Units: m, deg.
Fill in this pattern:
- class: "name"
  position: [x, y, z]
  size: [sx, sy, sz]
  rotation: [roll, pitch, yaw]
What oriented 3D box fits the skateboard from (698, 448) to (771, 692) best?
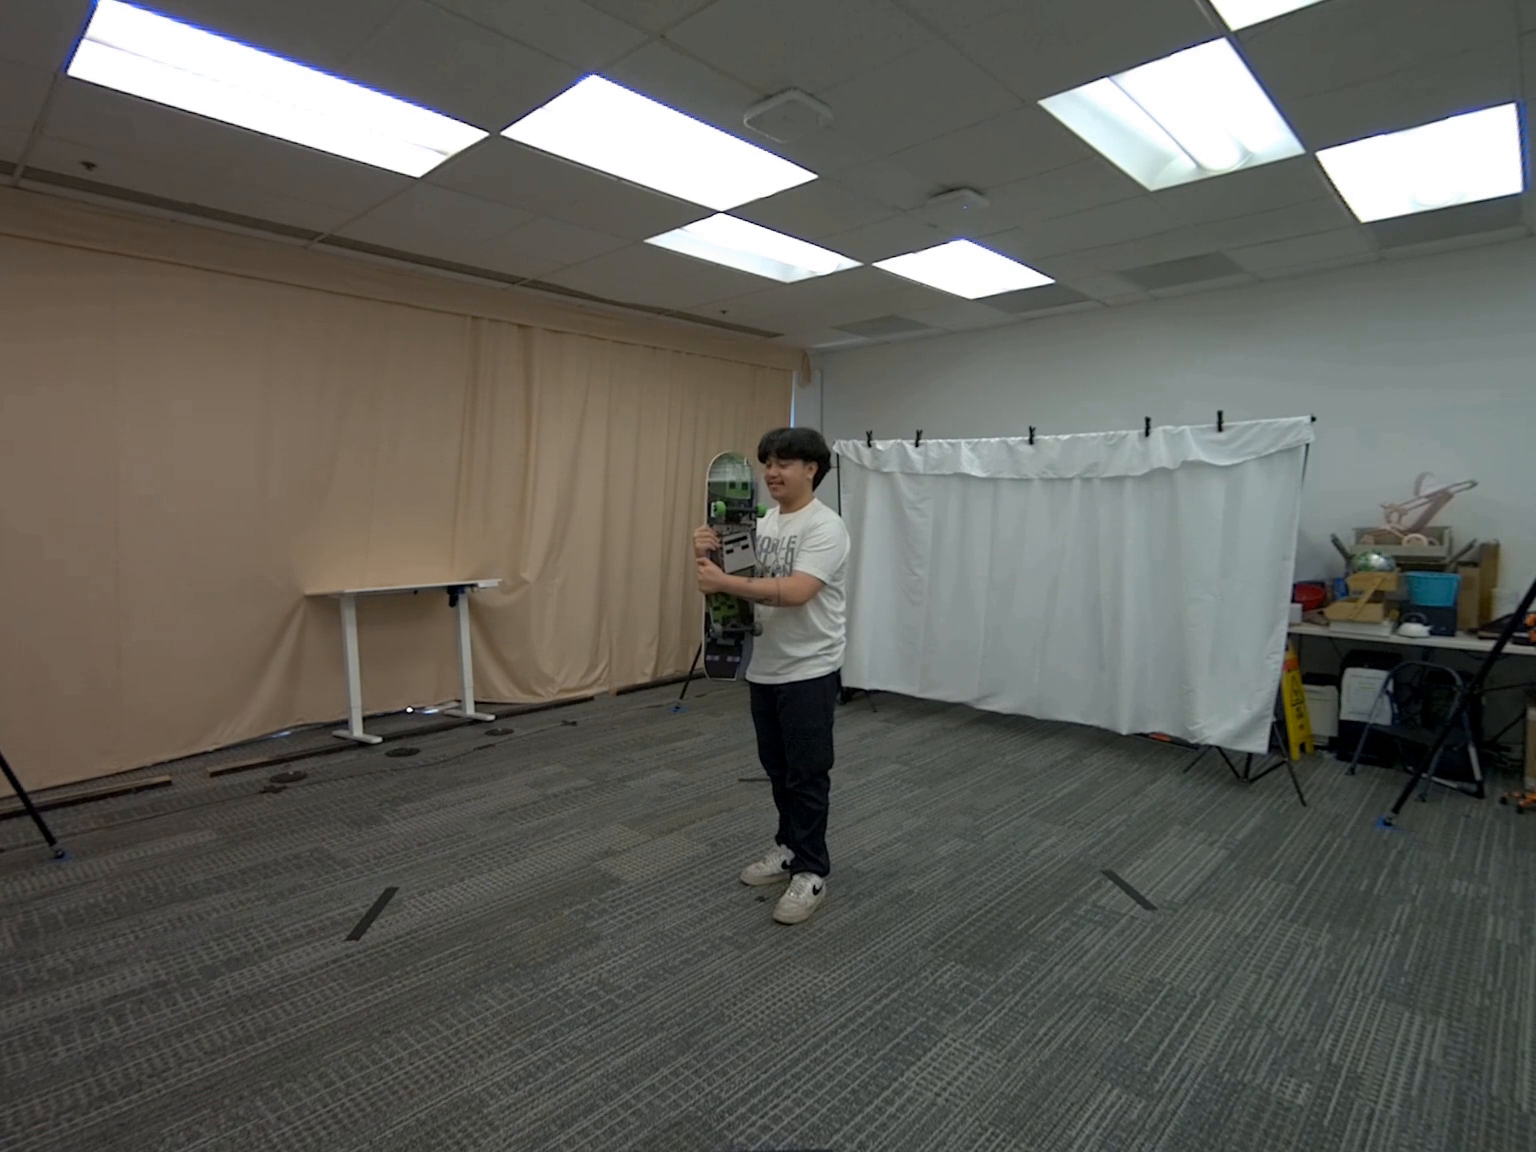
- class: "skateboard"
  position: [-0.113, -0.024, 2.813]
  size: [0.188, 0.784, 0.113]
  rotation: [0, 3, -27]
